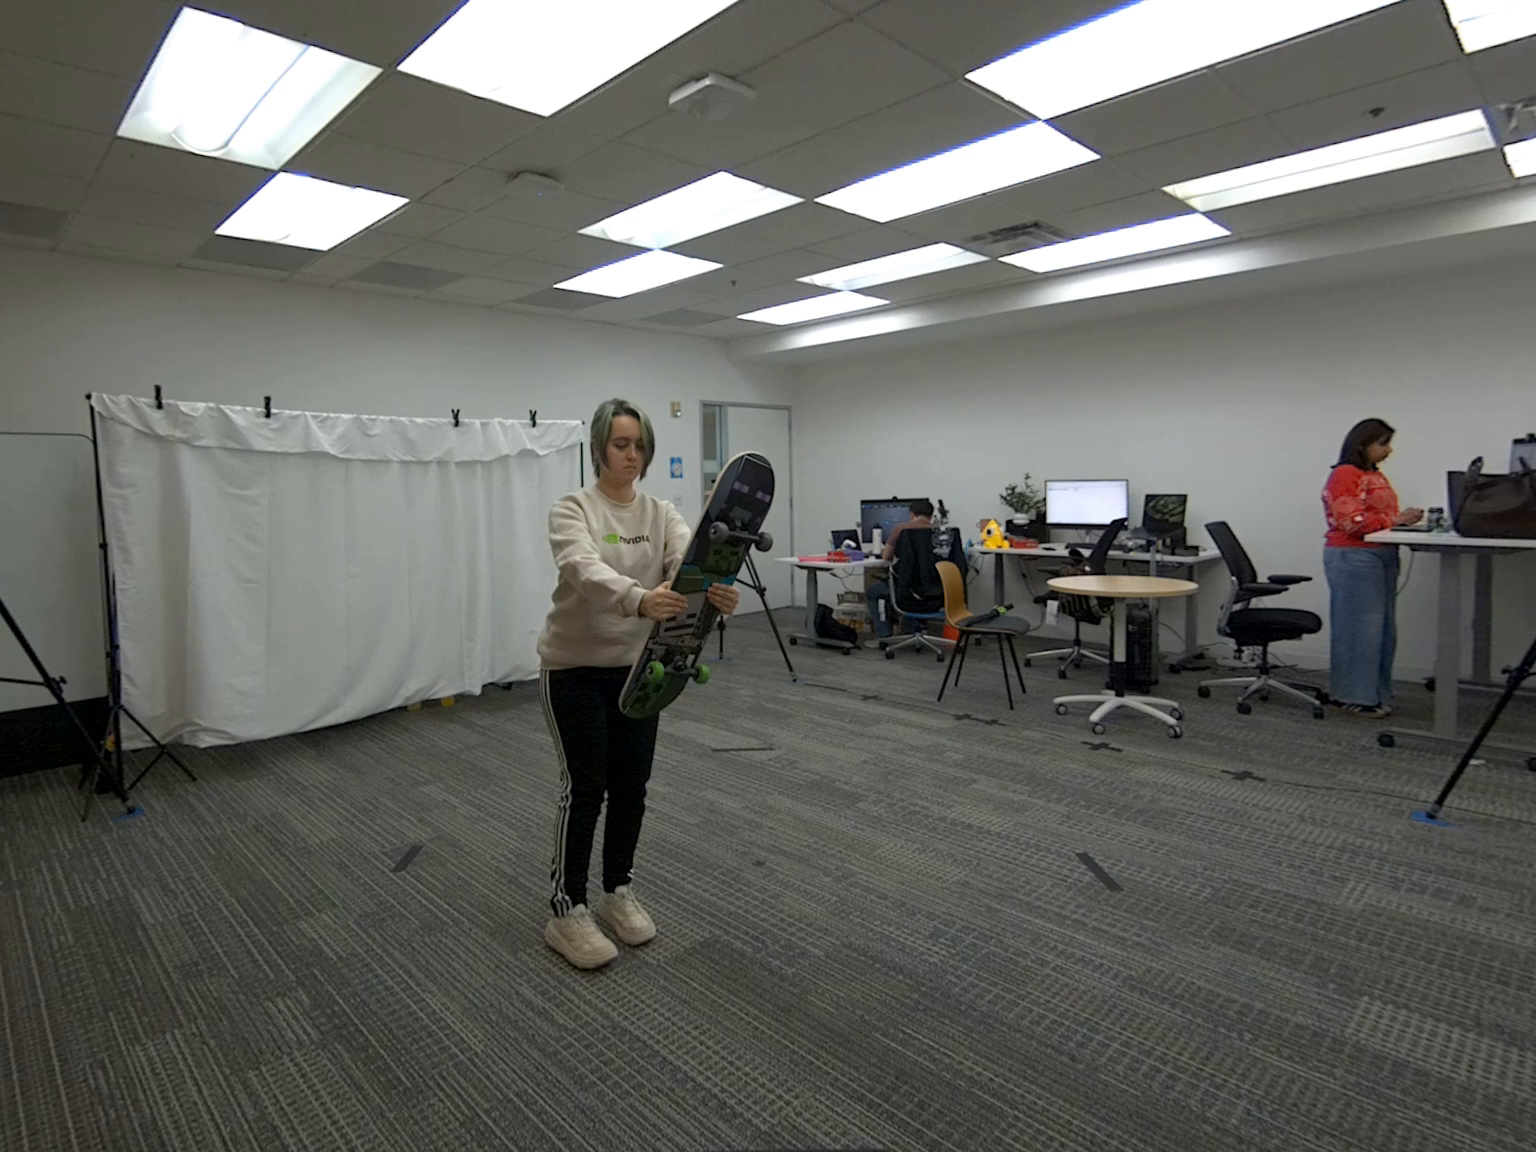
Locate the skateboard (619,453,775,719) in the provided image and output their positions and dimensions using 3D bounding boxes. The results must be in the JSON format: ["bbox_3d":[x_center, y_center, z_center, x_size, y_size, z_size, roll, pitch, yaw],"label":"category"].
[{"bbox_3d":[-0.161,0.062,2.164,0.187,0.780,0.115,10,21,-43],"label":"skateboard"}]
